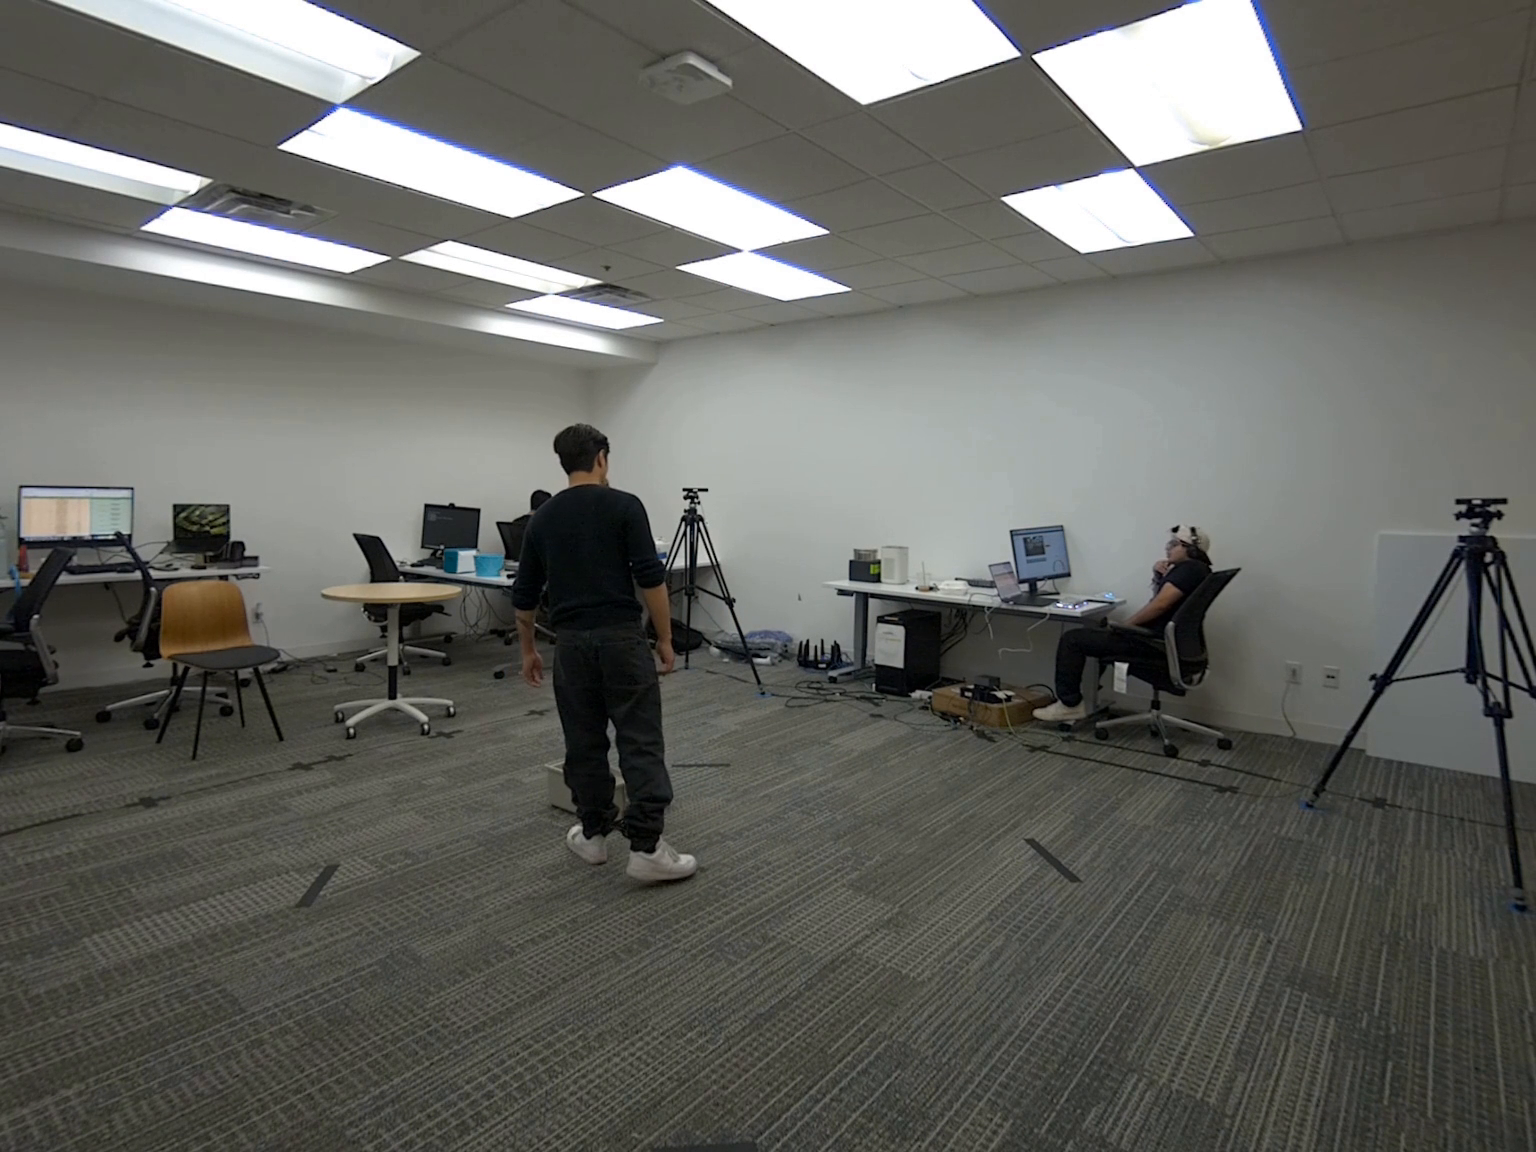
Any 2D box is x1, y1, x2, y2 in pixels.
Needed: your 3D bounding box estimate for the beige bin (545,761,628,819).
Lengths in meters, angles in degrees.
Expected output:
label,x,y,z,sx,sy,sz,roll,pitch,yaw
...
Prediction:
label,x,y,z,sx,sy,sz,roll,pitch,yaw
beige bin,-0.706,0.911,3.718,0.436,0.188,0.367,6,7,37
